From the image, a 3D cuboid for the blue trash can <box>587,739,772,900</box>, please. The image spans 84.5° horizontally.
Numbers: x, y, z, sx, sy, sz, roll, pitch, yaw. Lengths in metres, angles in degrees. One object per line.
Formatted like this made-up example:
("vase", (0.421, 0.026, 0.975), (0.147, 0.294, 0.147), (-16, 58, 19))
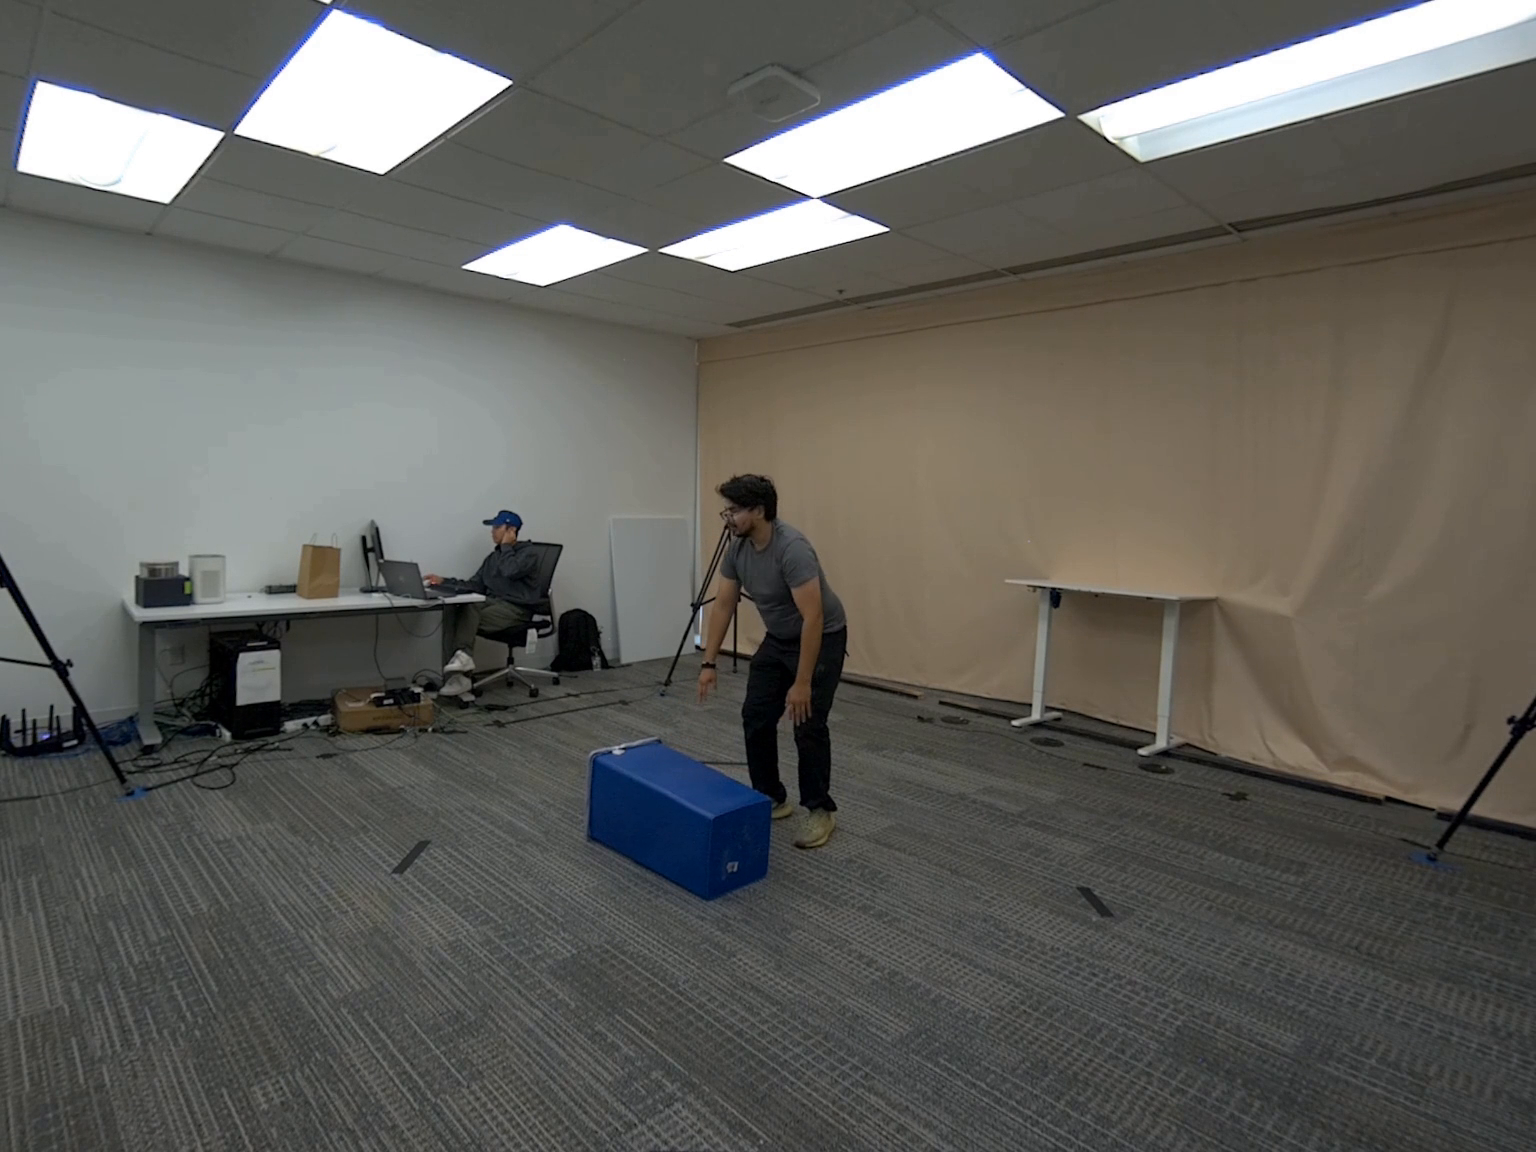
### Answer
("blue trash can", (-0.363, 0.921, 3.233), (0.365, 0.377, 0.732), (-1, 7, -43))
